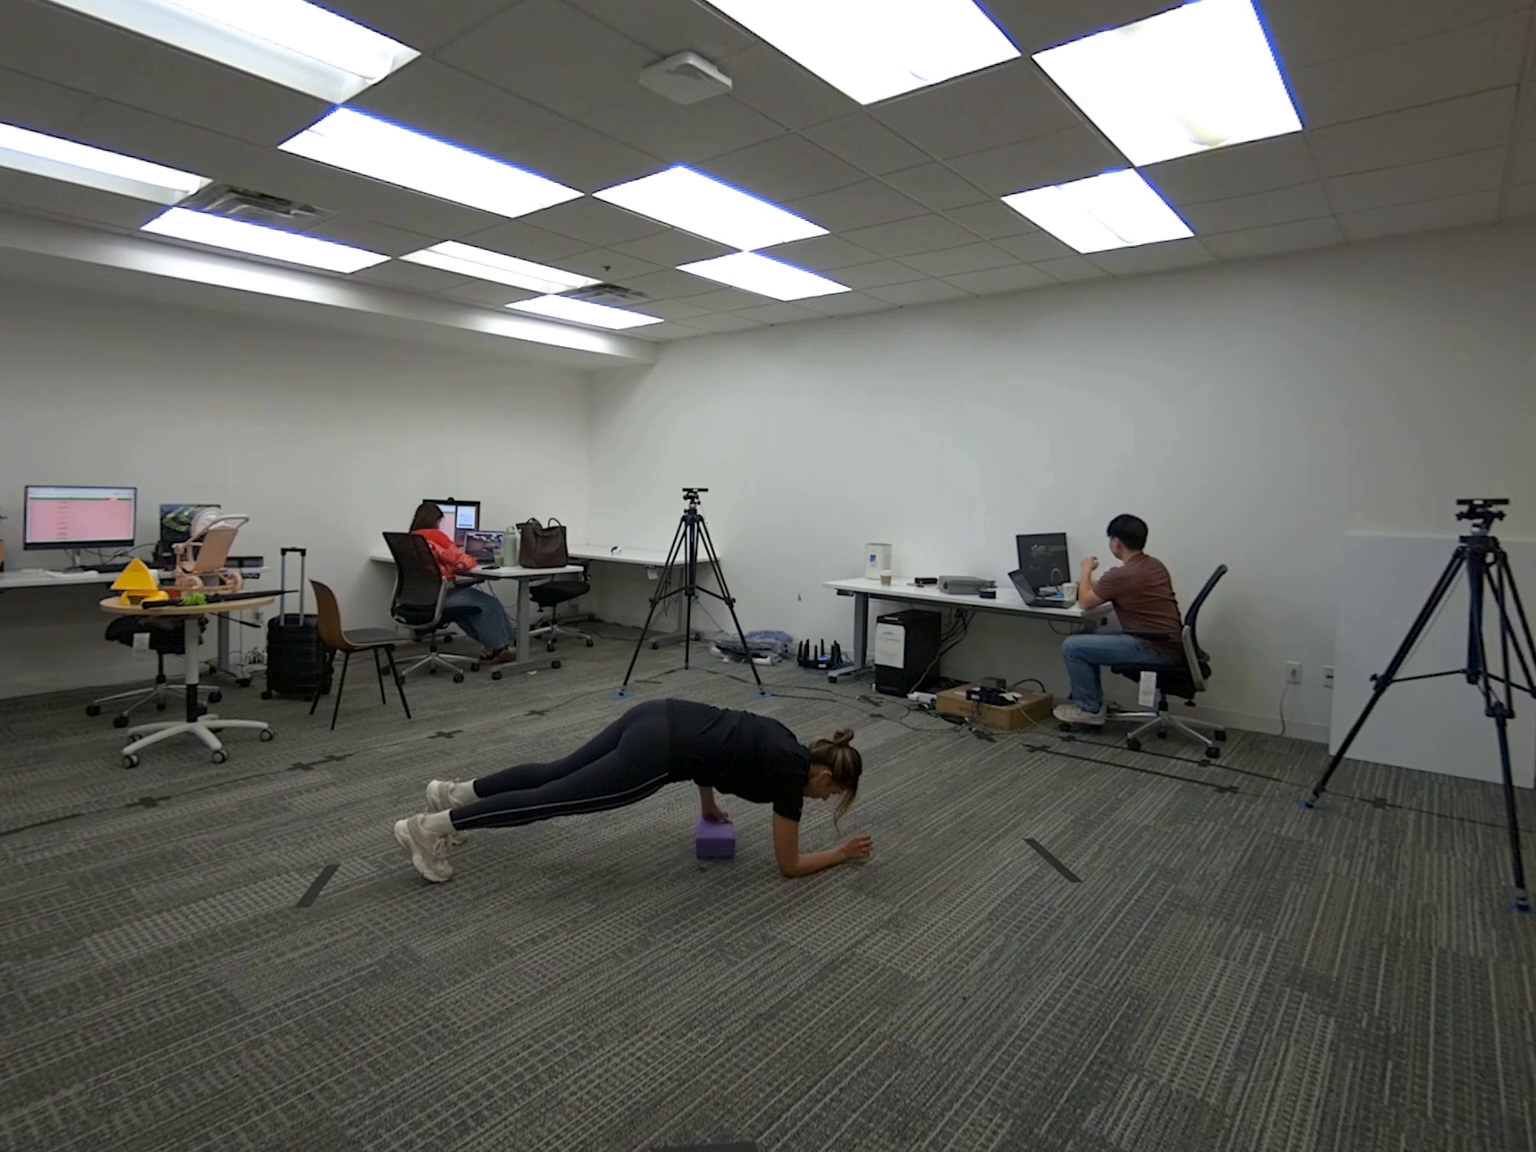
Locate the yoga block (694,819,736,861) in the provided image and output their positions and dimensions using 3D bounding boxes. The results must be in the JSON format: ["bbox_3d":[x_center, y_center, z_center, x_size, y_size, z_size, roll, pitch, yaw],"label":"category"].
[{"bbox_3d":[-0.217,1.015,3.306,0.148,0.076,0.231,-1,4,-5],"label":"yoga block"}]
